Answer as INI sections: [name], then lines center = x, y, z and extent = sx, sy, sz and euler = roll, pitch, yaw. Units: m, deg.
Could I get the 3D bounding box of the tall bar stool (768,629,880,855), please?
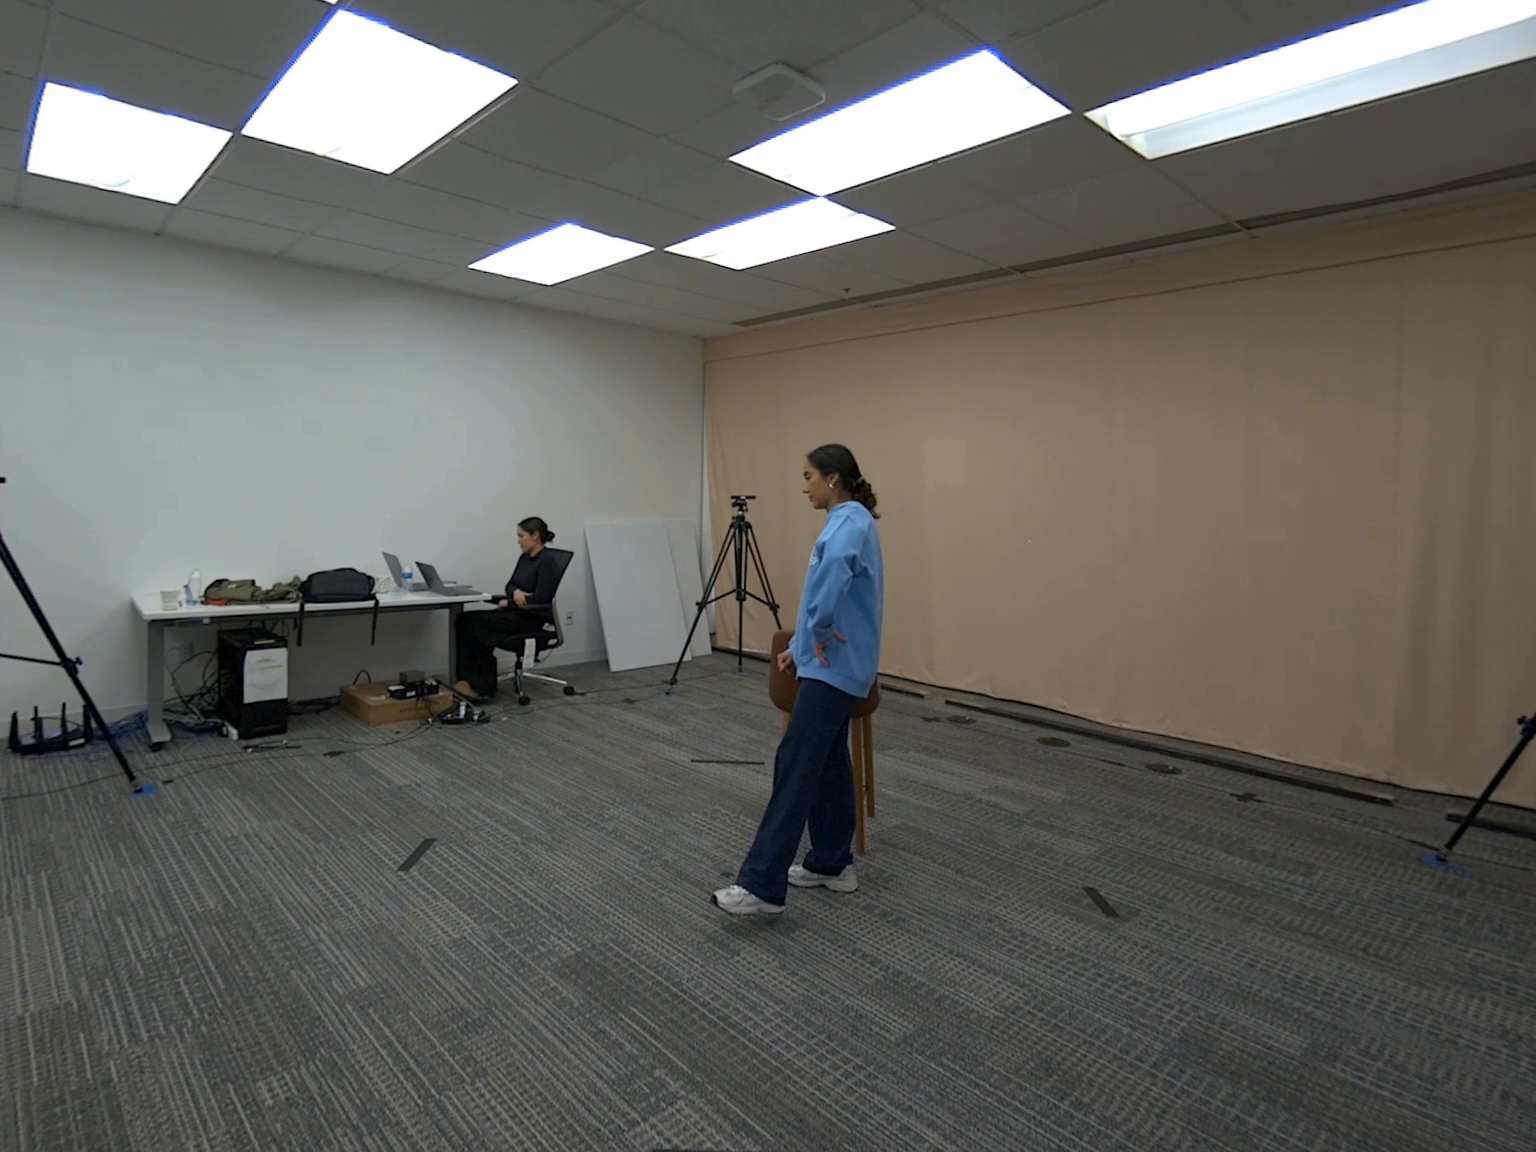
[tall bar stool]
center = 0.239, 0.642, 3.535
extent = 0.461, 0.886, 0.464
euler = 2, 5, 13
